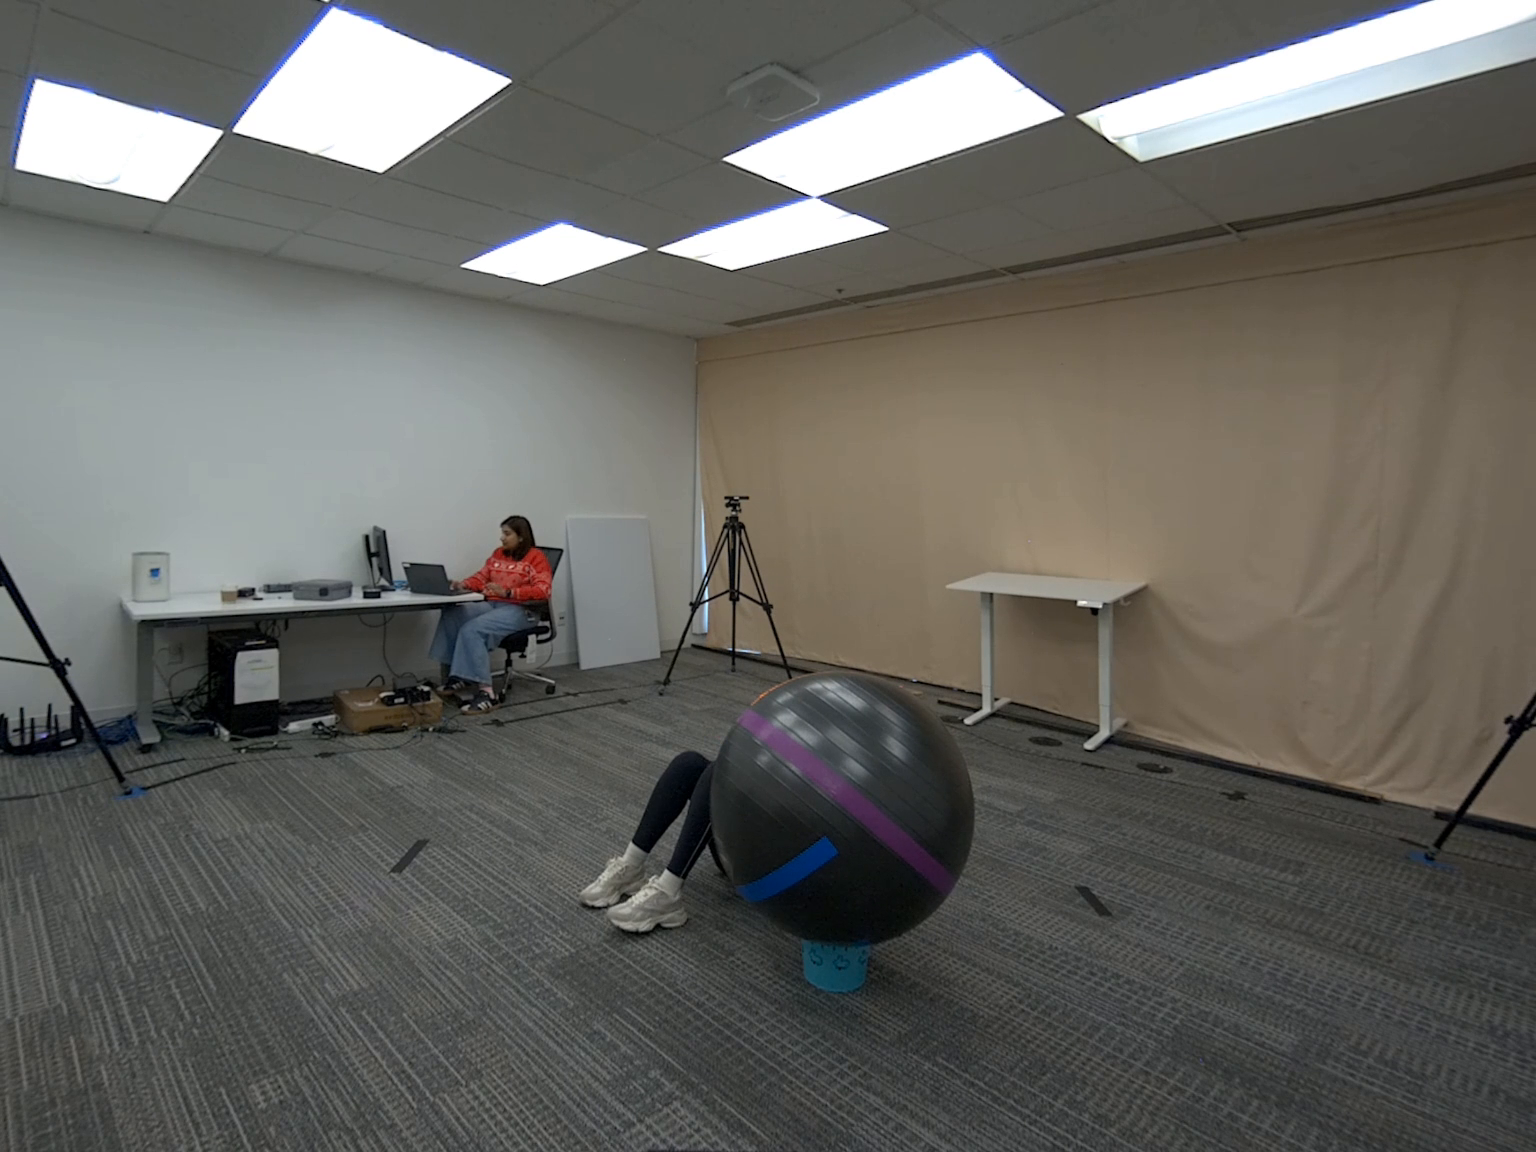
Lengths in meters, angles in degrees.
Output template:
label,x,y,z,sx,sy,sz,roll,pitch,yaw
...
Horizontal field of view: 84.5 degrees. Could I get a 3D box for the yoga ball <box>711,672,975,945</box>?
label,x,y,z,sx,sy,sz,roll,pitch,yaw
yoga ball,0.211,0.666,2.444,0.757,0.754,0.762,0,7,-1
